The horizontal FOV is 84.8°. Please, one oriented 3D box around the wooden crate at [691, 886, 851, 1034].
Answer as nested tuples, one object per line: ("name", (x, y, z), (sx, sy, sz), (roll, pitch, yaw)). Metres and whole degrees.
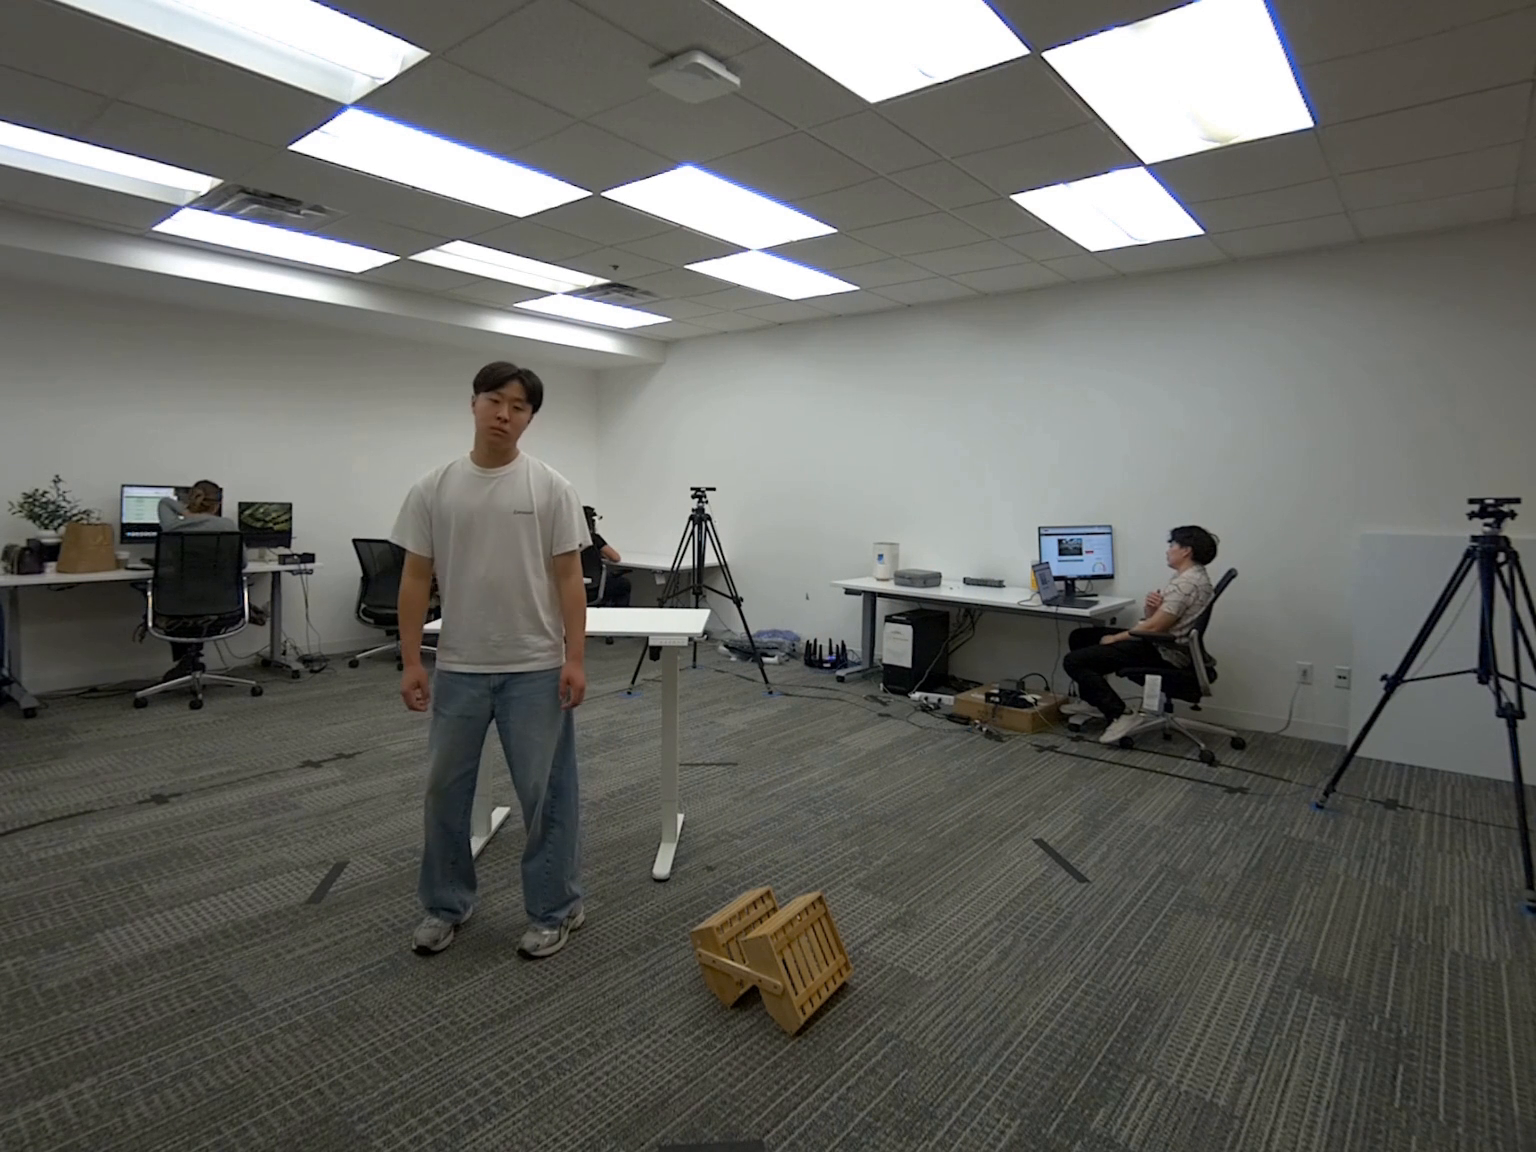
("wooden crate", (0.004, 1.056, 2.366), (0.276, 0.307, 0.315), (-29, -13, 31))
